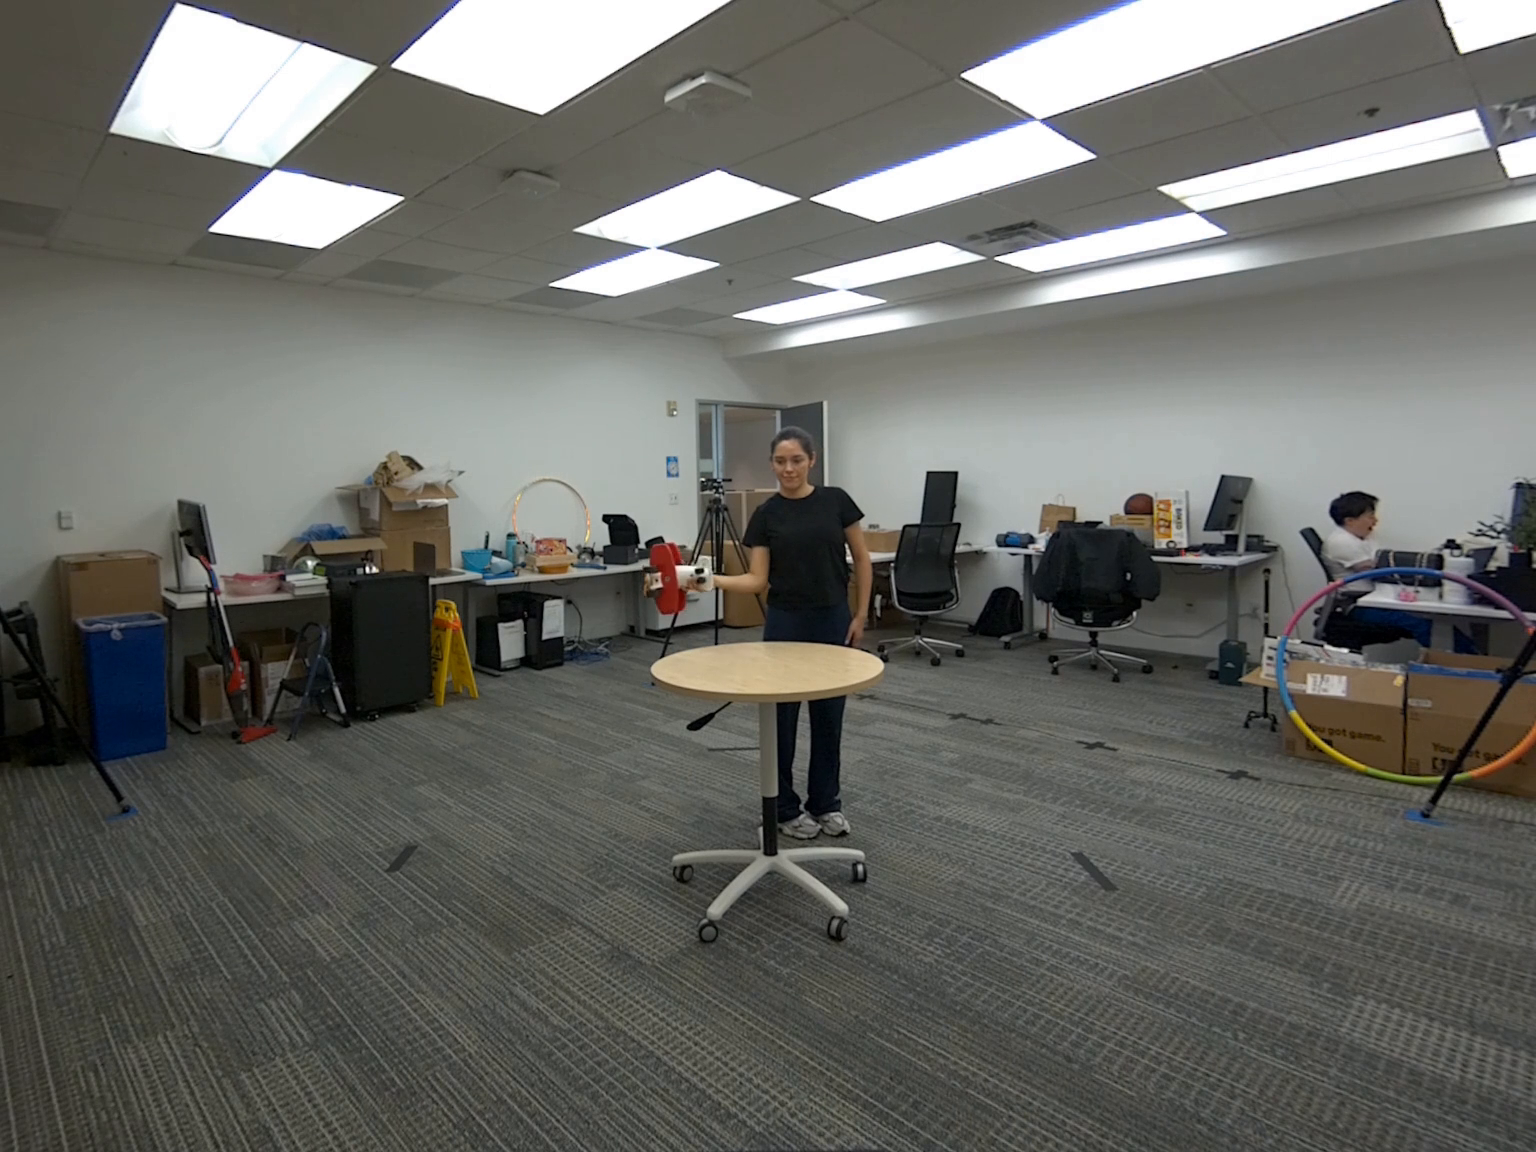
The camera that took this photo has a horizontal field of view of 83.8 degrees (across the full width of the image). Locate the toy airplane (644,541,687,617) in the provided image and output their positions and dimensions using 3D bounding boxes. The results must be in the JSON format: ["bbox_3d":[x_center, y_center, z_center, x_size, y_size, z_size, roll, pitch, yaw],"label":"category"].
[{"bbox_3d":[-0.324,0.006,3.102,0.260,0.251,0.156,20,2,3],"label":"toy airplane"}]
